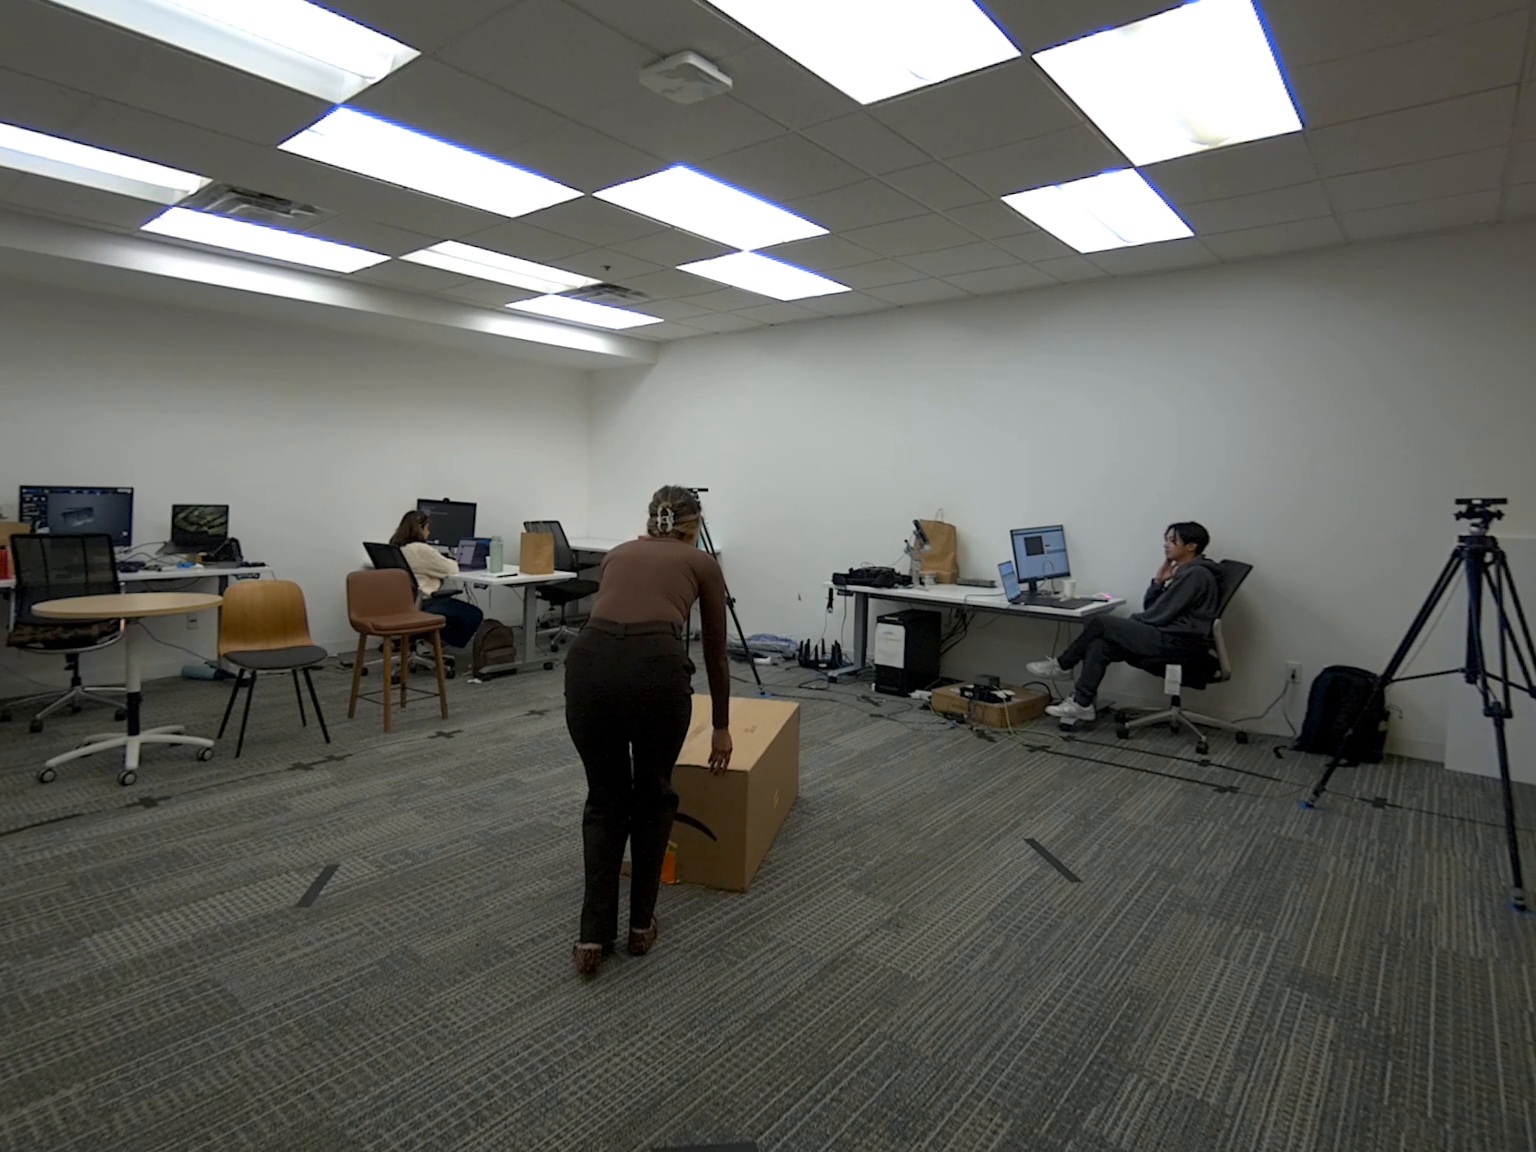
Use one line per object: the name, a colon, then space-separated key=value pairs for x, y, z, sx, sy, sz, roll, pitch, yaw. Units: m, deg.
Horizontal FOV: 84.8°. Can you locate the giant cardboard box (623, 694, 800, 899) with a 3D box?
giant cardboard box: x=-0.251 y=0.821 z=3.470 sx=0.593 sy=0.445 sz=1.015 roll=3 pitch=6 yaw=13
